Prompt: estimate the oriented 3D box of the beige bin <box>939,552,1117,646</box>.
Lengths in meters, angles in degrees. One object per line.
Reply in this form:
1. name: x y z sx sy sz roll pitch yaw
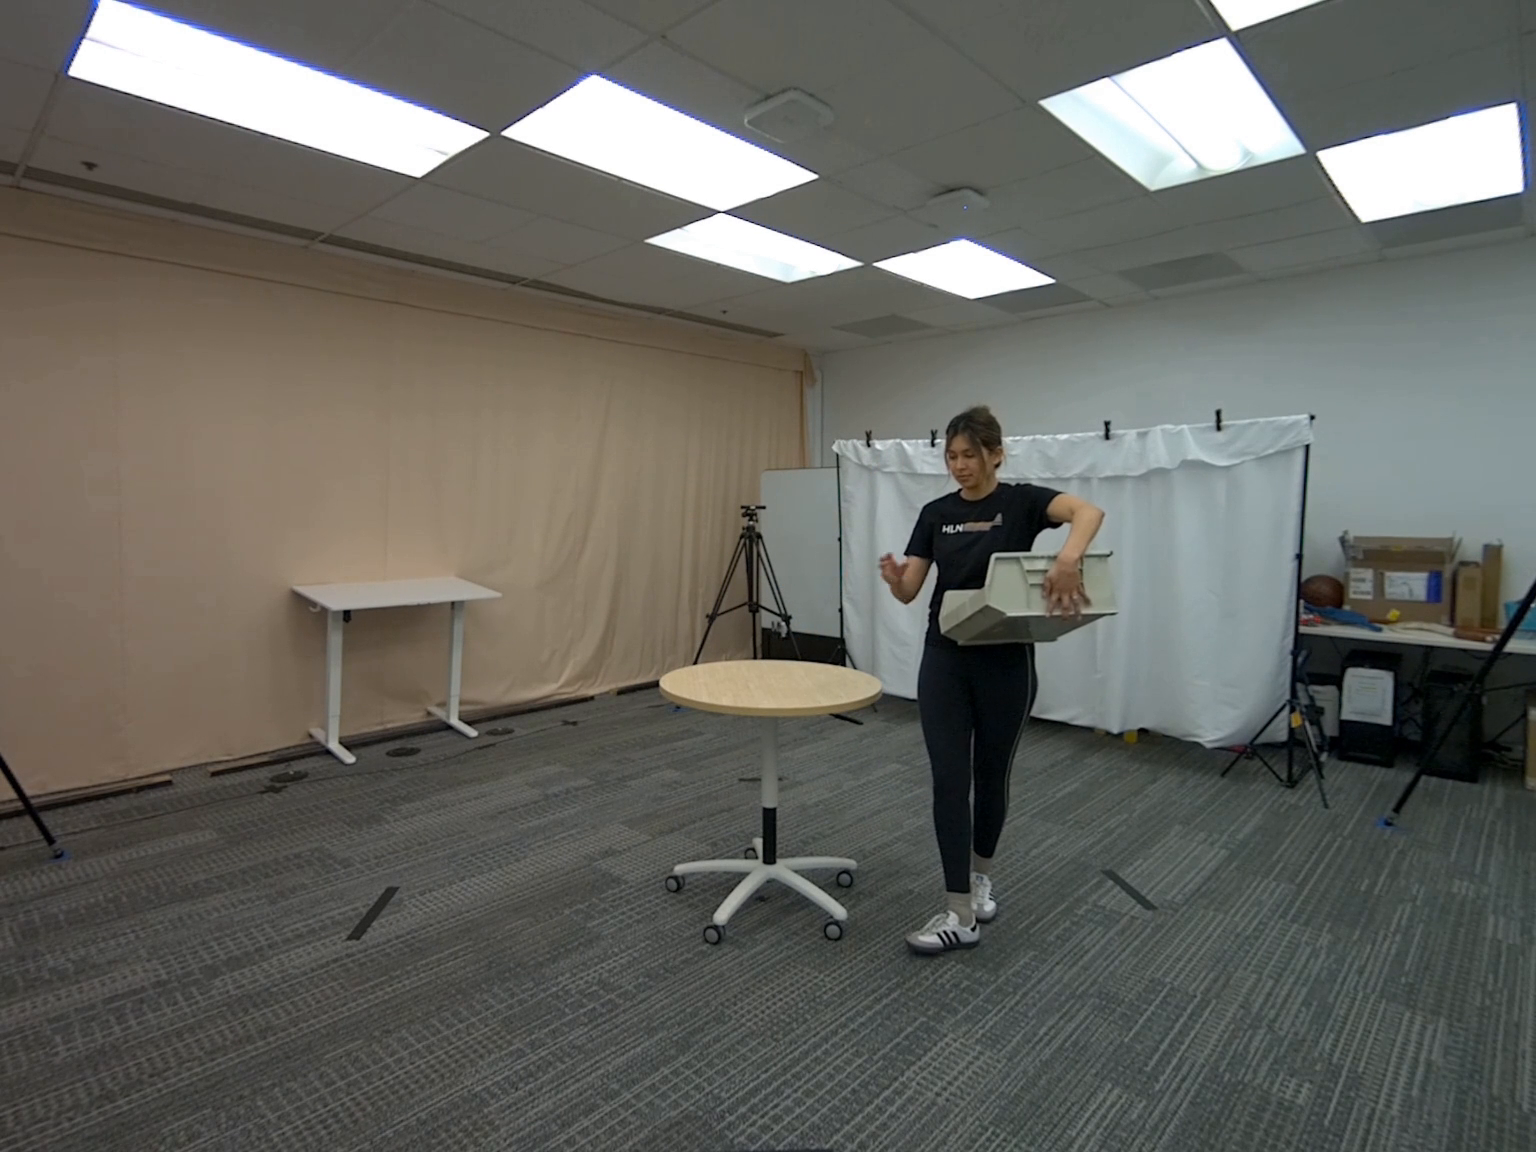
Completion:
1. beige bin: 0.753 0.073 2.504 0.376 0.191 0.420 1 -17 -5
